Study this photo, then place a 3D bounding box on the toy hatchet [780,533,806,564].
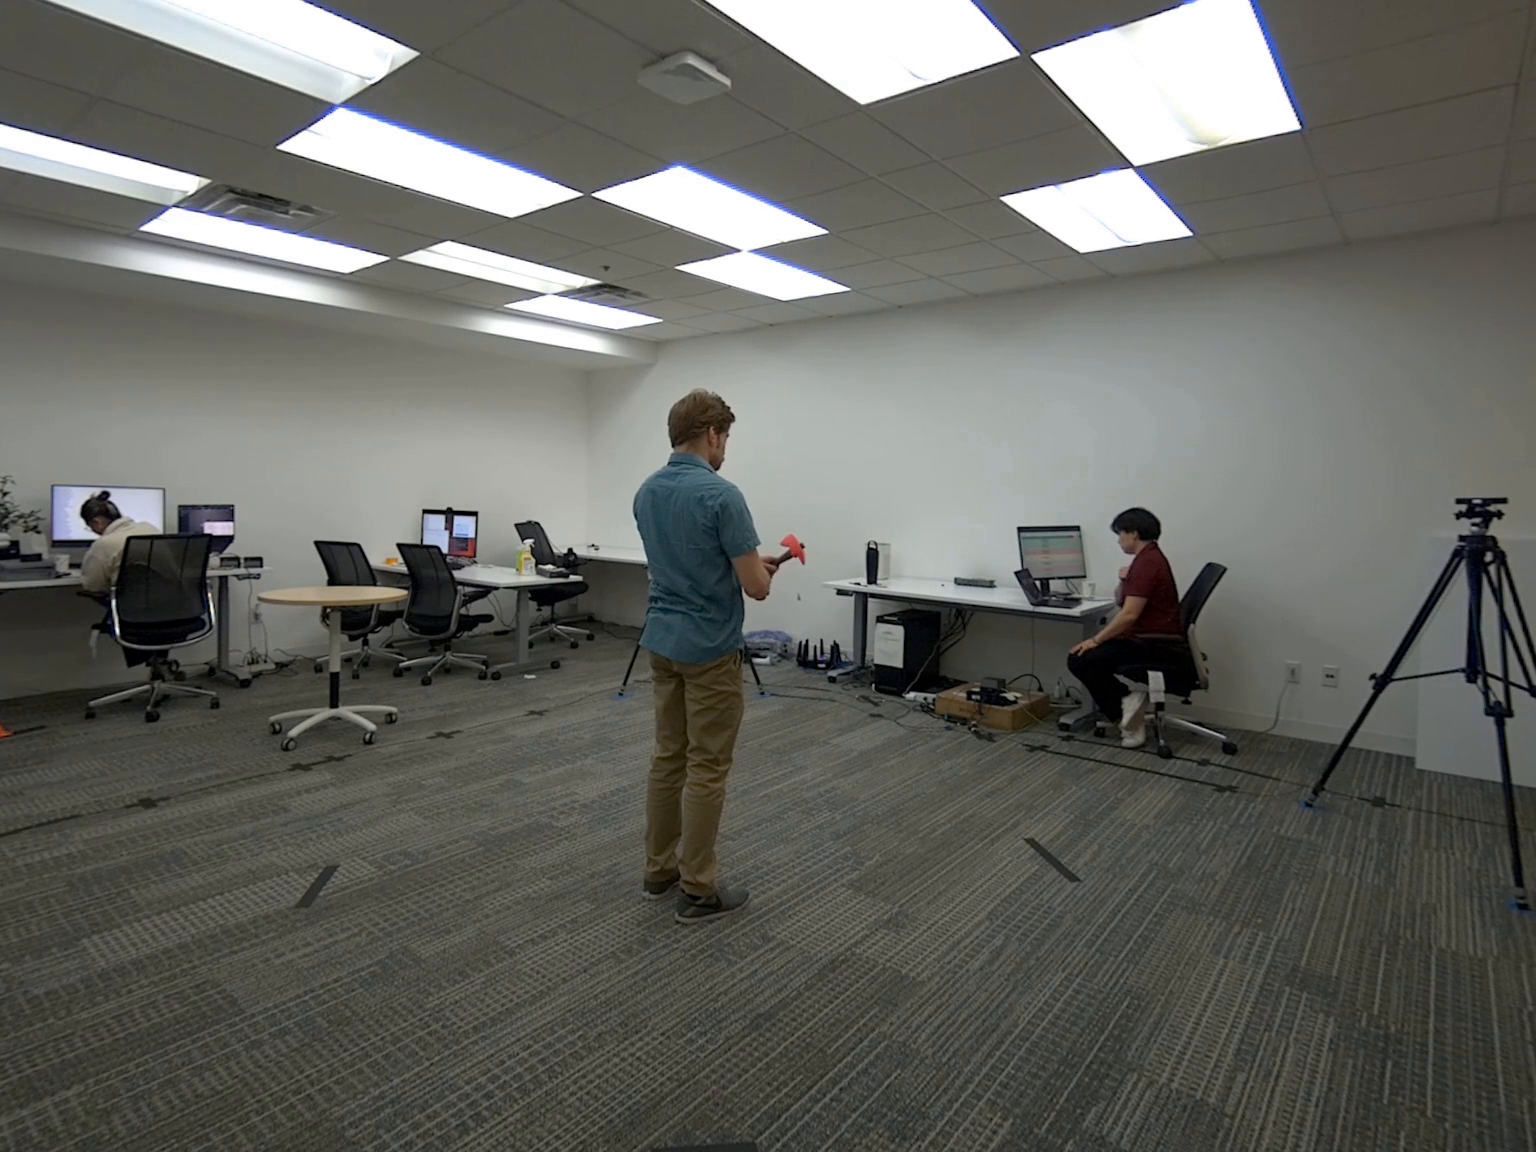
[{"bbox_3d":[-0.003,-0.071,3.121,0.275,0.133,0.028,-11,-17,22],"label":"toy hatchet"}]
